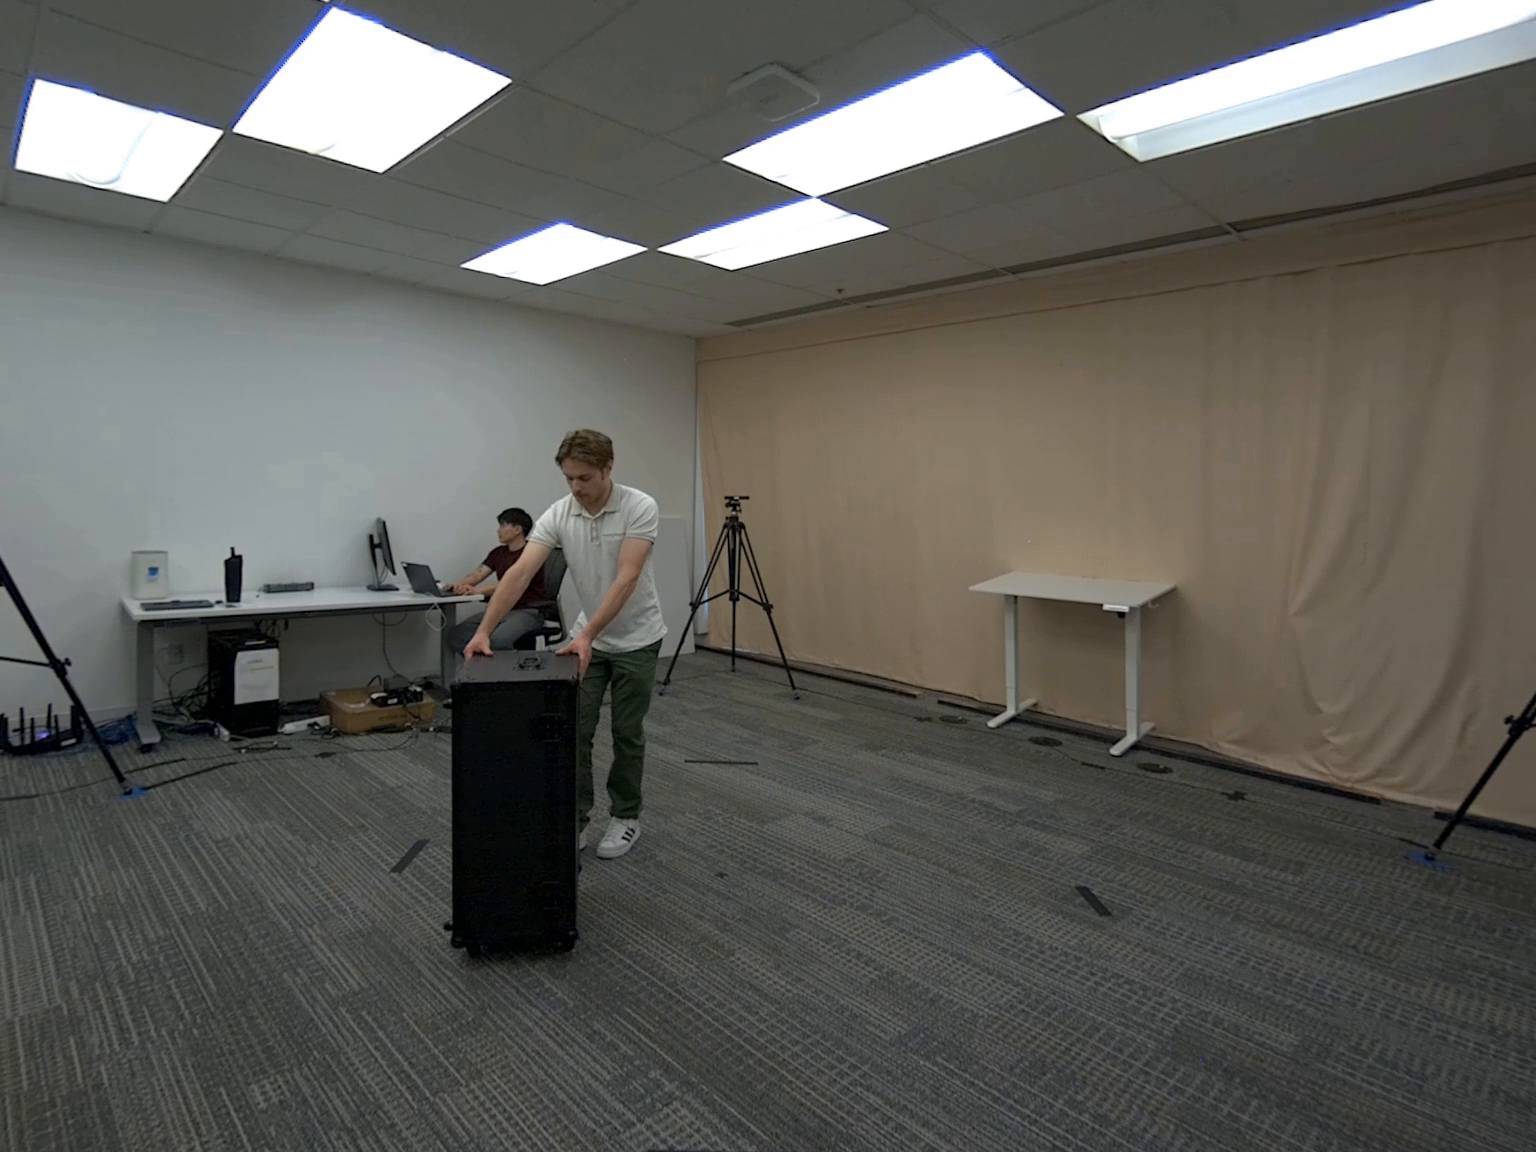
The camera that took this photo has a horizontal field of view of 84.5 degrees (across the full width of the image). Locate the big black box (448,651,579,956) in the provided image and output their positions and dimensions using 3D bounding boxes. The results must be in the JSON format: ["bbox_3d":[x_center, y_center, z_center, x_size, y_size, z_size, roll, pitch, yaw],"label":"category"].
[{"bbox_3d":[-0.791,0.712,2.668,0.382,0.866,0.529,0,4,-11],"label":"big black box"}]
